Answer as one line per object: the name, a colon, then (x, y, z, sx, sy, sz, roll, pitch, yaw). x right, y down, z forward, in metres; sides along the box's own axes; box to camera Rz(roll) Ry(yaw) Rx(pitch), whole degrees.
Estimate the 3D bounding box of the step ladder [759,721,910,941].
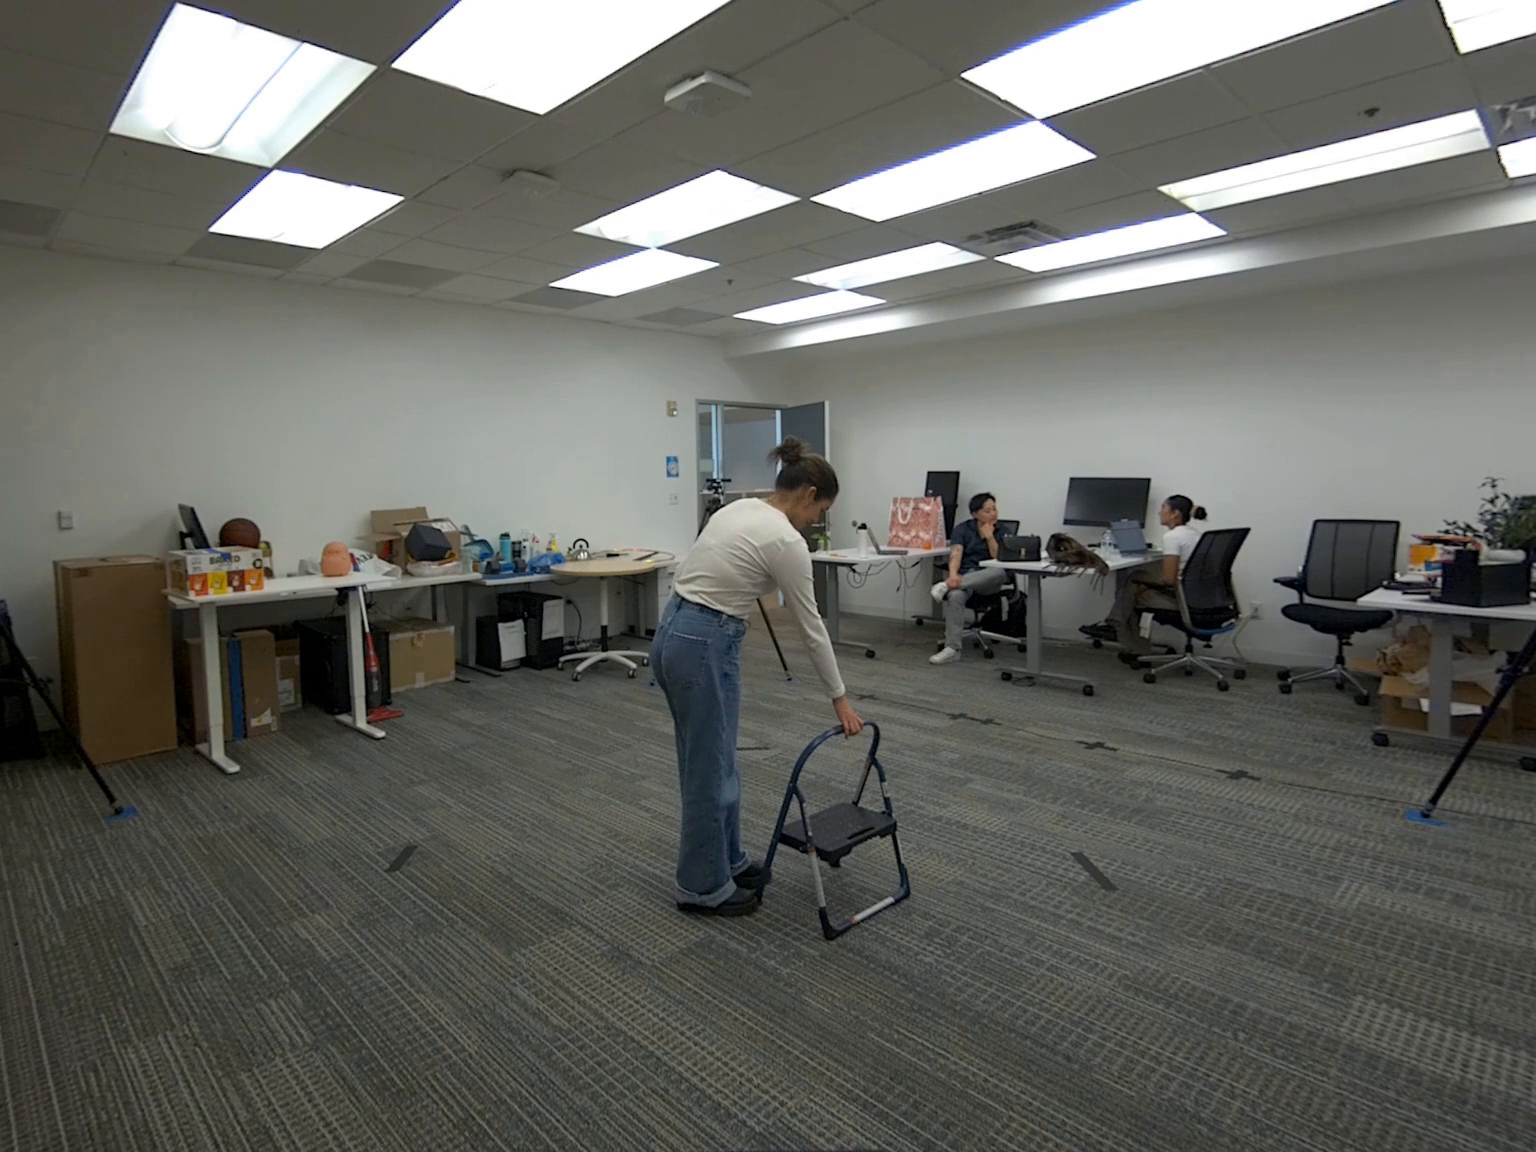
step ladder: (0.208, 0.766, 2.812, 0.419, 0.604, 0.360, -5, 5, -44)
